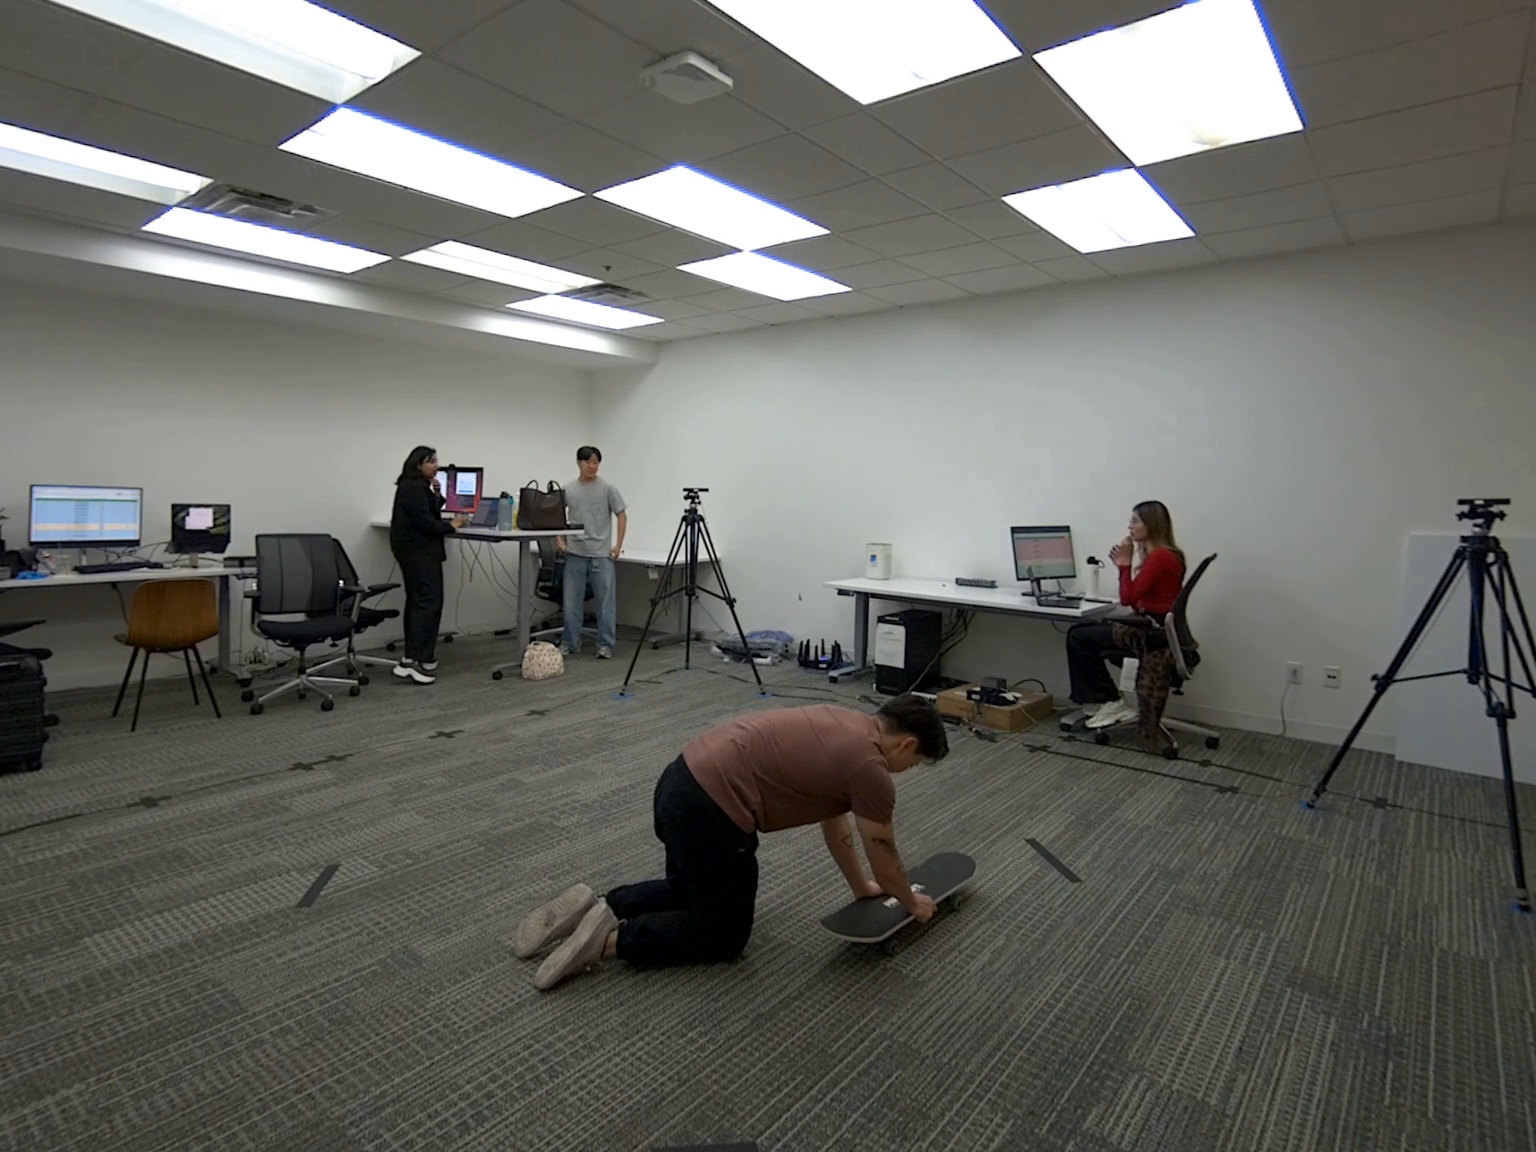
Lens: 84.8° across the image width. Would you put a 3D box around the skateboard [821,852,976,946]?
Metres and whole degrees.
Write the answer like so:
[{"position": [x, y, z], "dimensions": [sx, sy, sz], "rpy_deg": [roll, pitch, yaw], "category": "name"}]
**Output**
[{"position": [0.433, 1.067, 2.751], "dimensions": [0.200, 0.110, 0.762], "rpy_deg": [2, 5, 42], "category": "skateboard"}]
